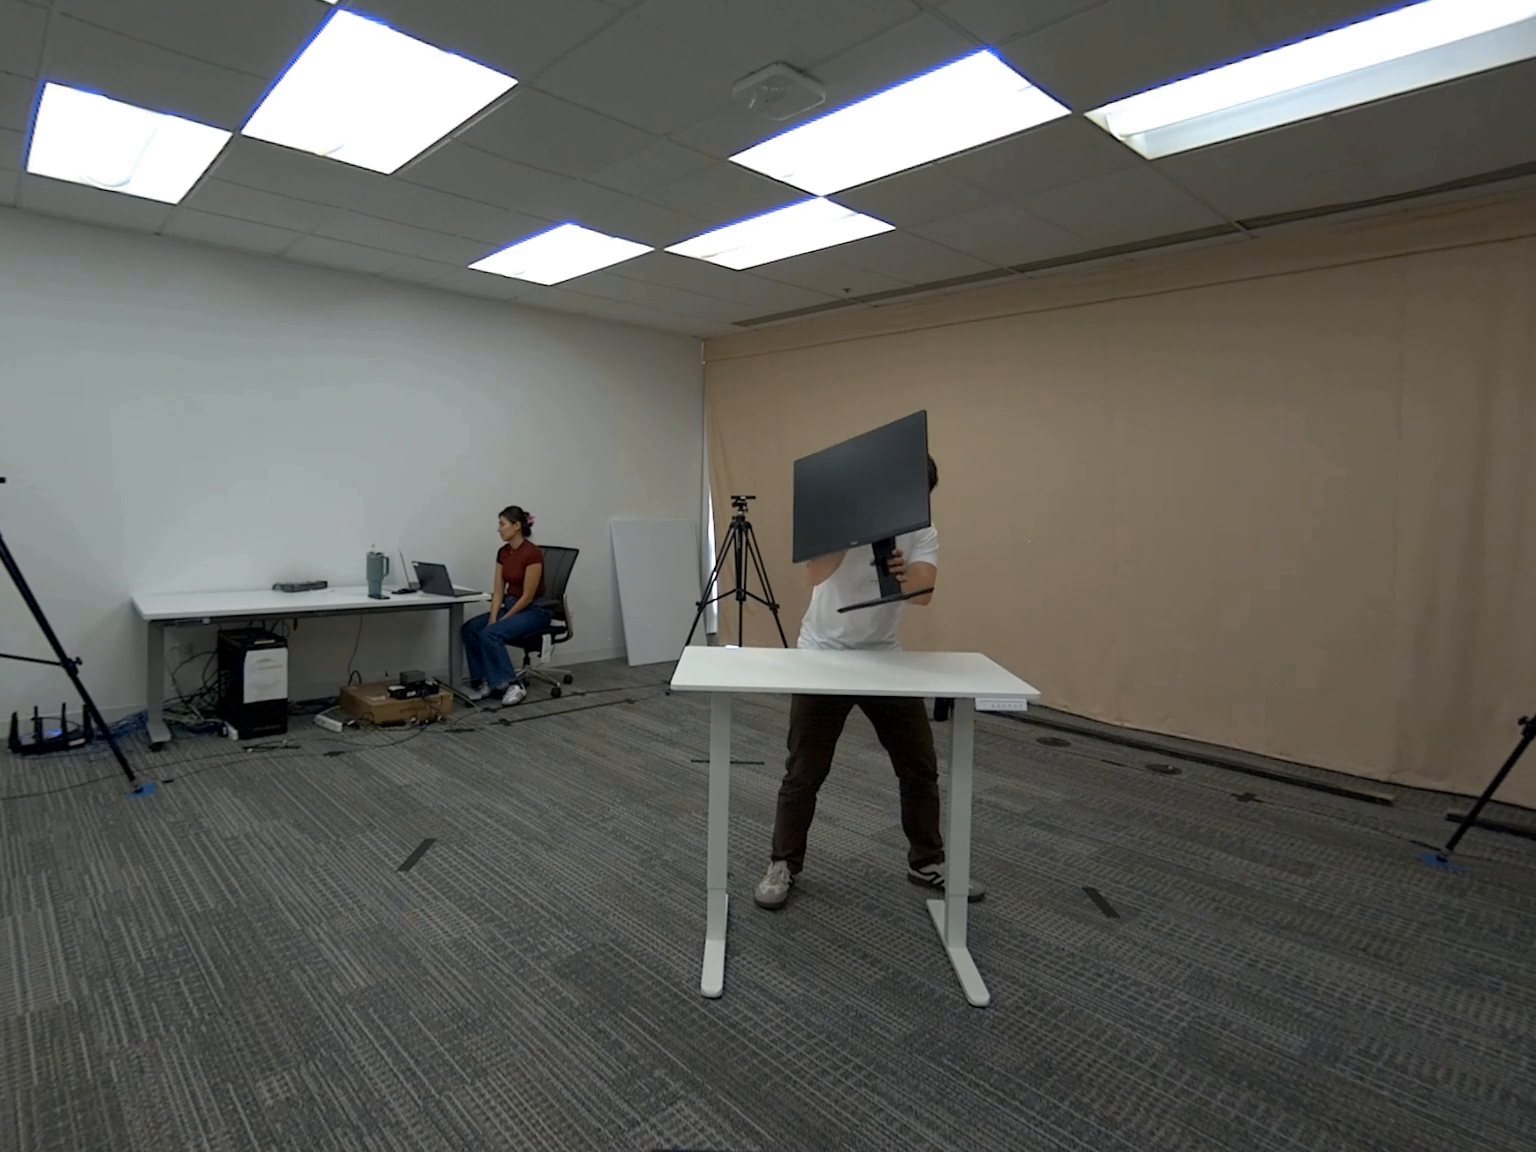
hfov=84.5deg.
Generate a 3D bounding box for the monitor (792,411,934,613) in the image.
[{"bbox_3d":[0.297,-0.167,2.550,0.183,0.526,0.548,-1,-10,-44],"label":"monitor"}]
